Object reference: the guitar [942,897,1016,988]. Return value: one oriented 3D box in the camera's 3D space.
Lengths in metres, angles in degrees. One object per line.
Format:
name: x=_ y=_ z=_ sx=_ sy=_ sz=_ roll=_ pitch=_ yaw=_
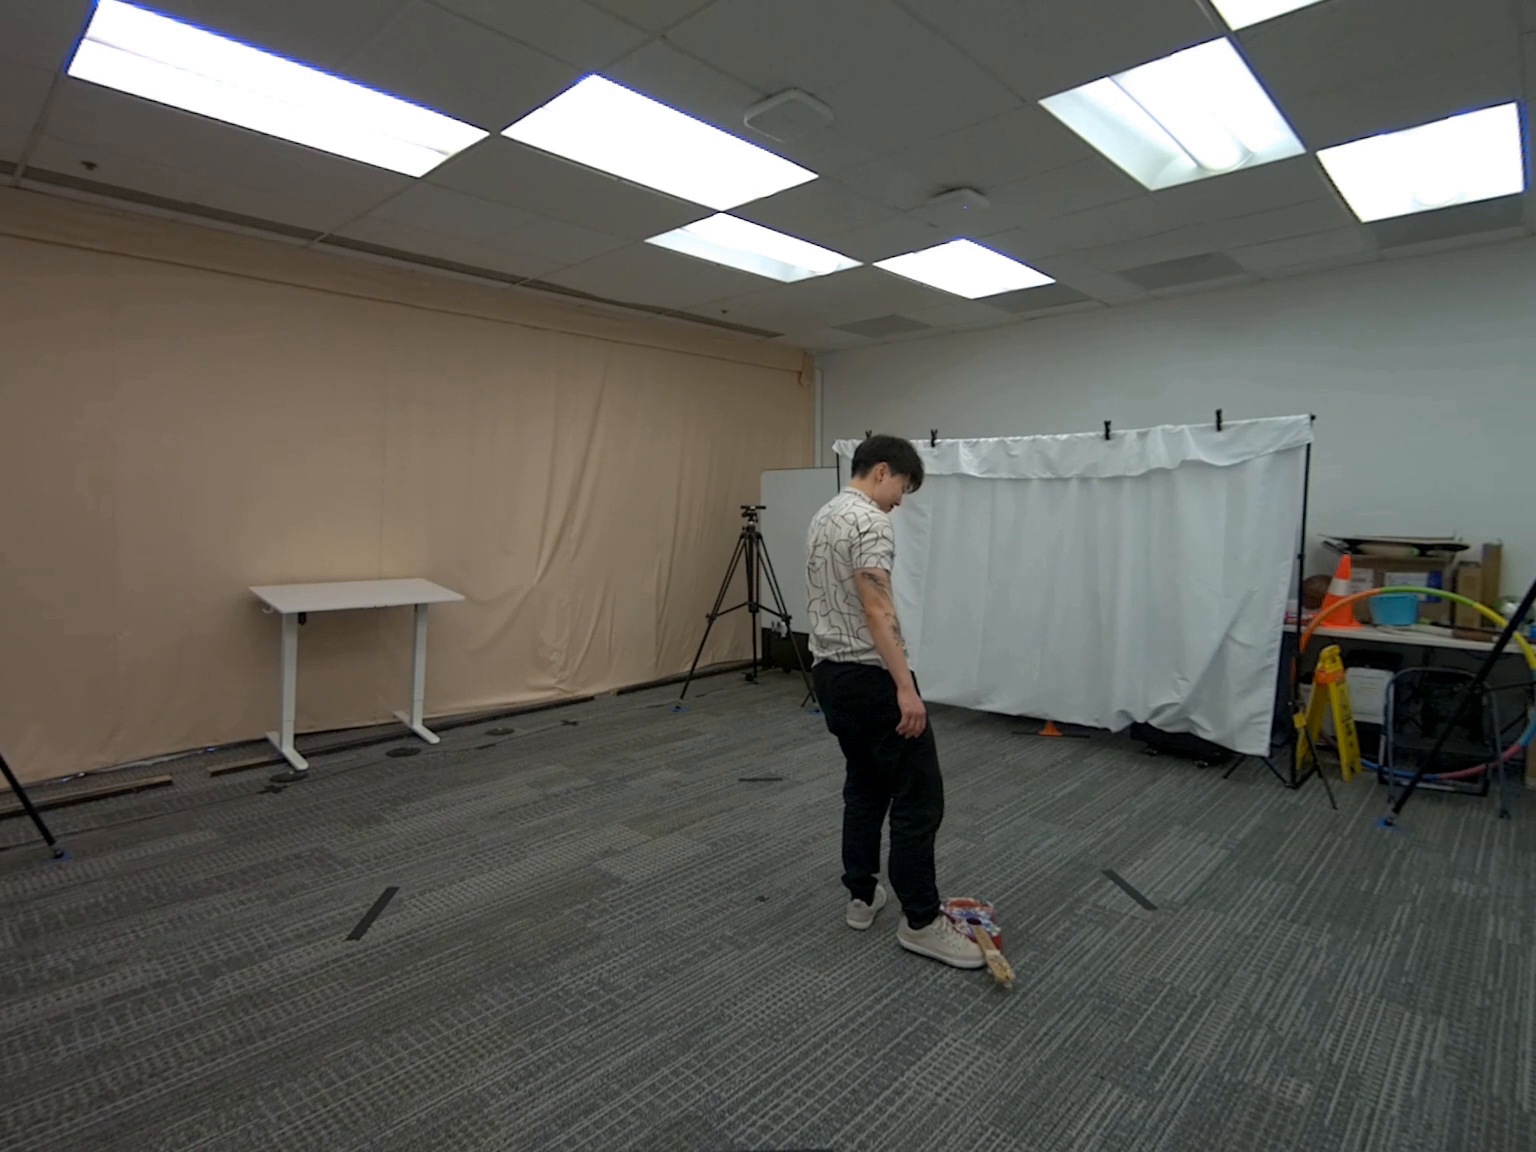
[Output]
guitar: x=0.642 y=1.140 z=2.615 sx=0.194 sy=0.070 sz=0.495 roll=1 pitch=4 yaw=6
